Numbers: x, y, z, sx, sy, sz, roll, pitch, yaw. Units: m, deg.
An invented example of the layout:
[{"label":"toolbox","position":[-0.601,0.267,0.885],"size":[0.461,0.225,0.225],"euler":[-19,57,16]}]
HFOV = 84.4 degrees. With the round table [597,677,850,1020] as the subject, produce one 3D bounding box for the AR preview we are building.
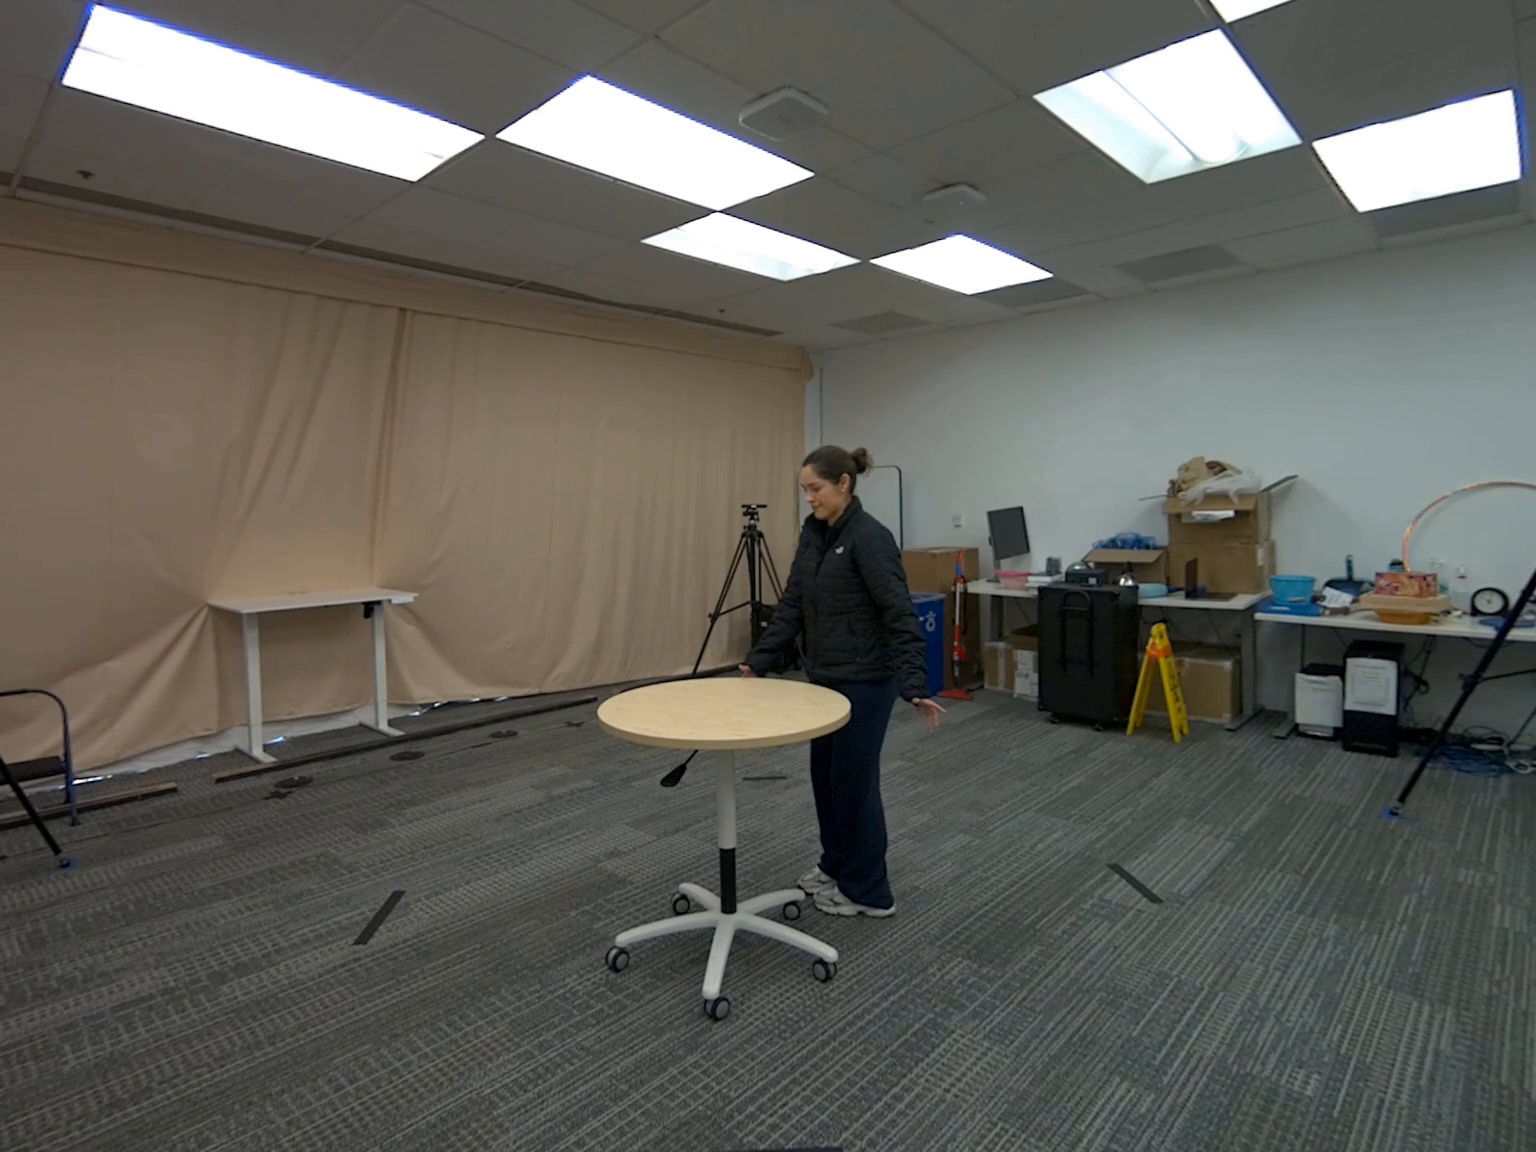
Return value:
[{"label":"round table","position":[-0.100,0.781,2.595],"size":[0.784,0.784,0.788],"euler":[-1,4,-2]}]
